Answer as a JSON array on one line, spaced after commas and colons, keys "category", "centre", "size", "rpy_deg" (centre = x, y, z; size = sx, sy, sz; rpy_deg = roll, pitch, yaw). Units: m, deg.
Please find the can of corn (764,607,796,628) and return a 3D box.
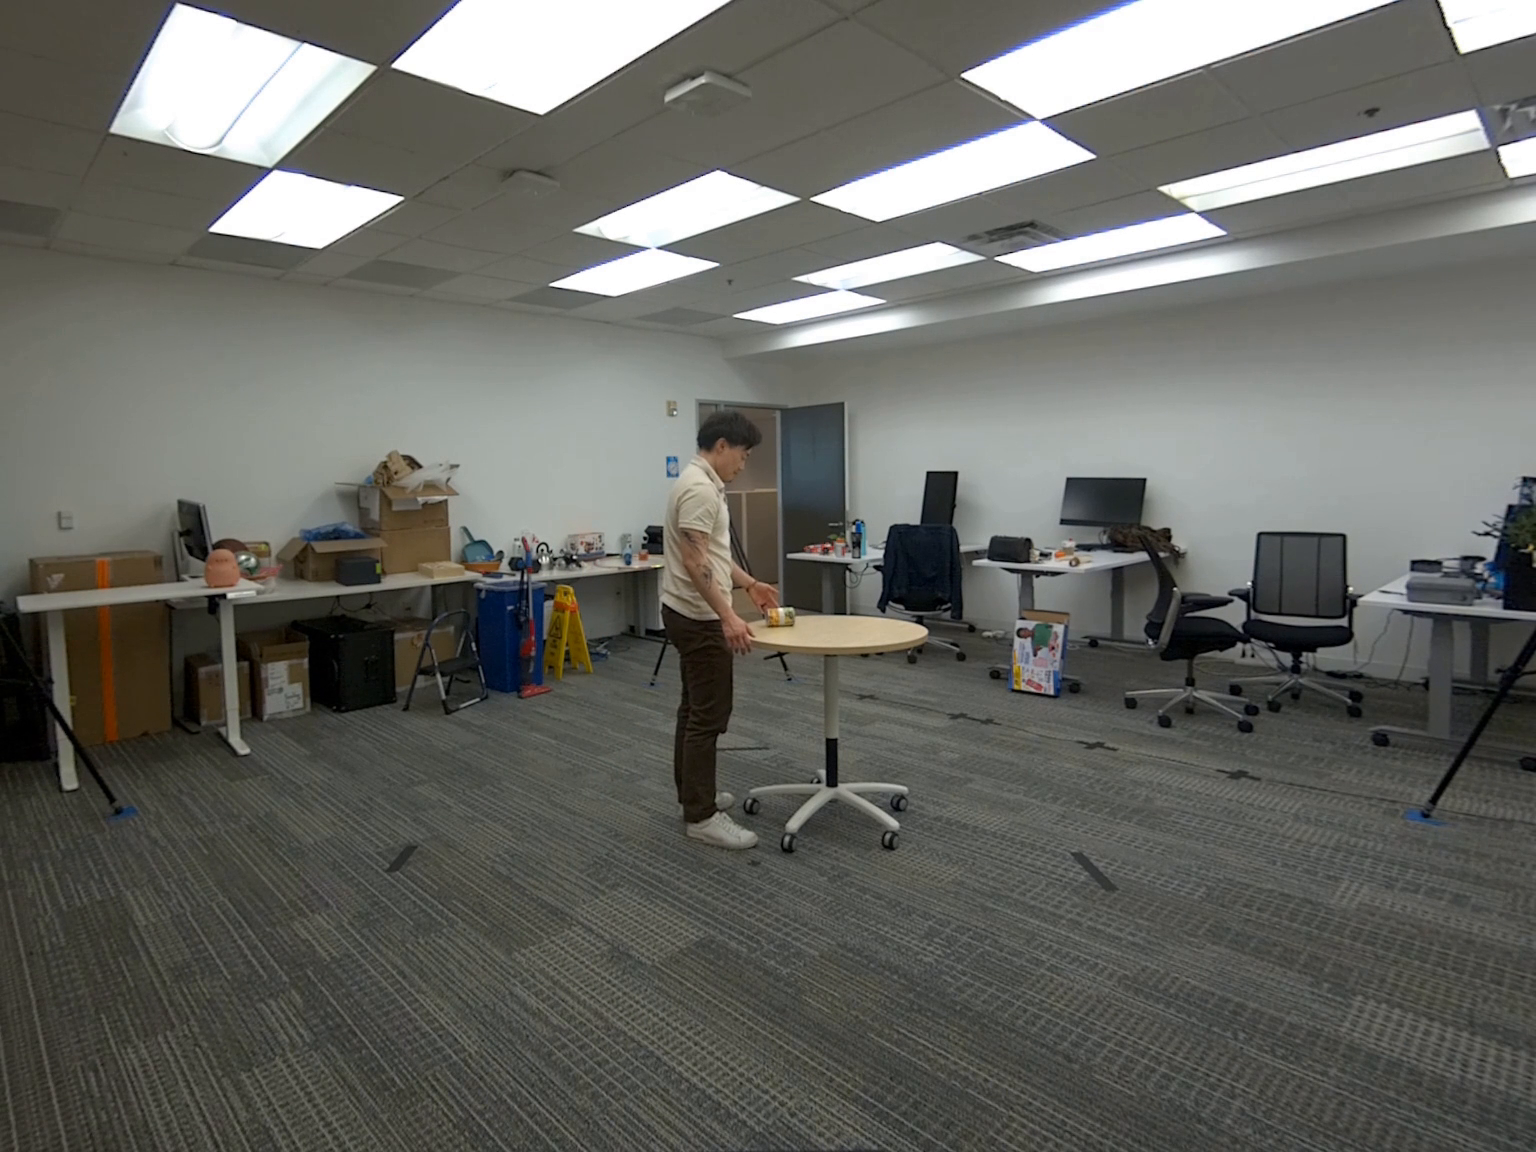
[{"category": "can of corn", "centre": [0.049, 0.169, 3.558], "size": [0.110, 0.074, 0.075], "rpy_deg": [-2, 5, -4]}]
